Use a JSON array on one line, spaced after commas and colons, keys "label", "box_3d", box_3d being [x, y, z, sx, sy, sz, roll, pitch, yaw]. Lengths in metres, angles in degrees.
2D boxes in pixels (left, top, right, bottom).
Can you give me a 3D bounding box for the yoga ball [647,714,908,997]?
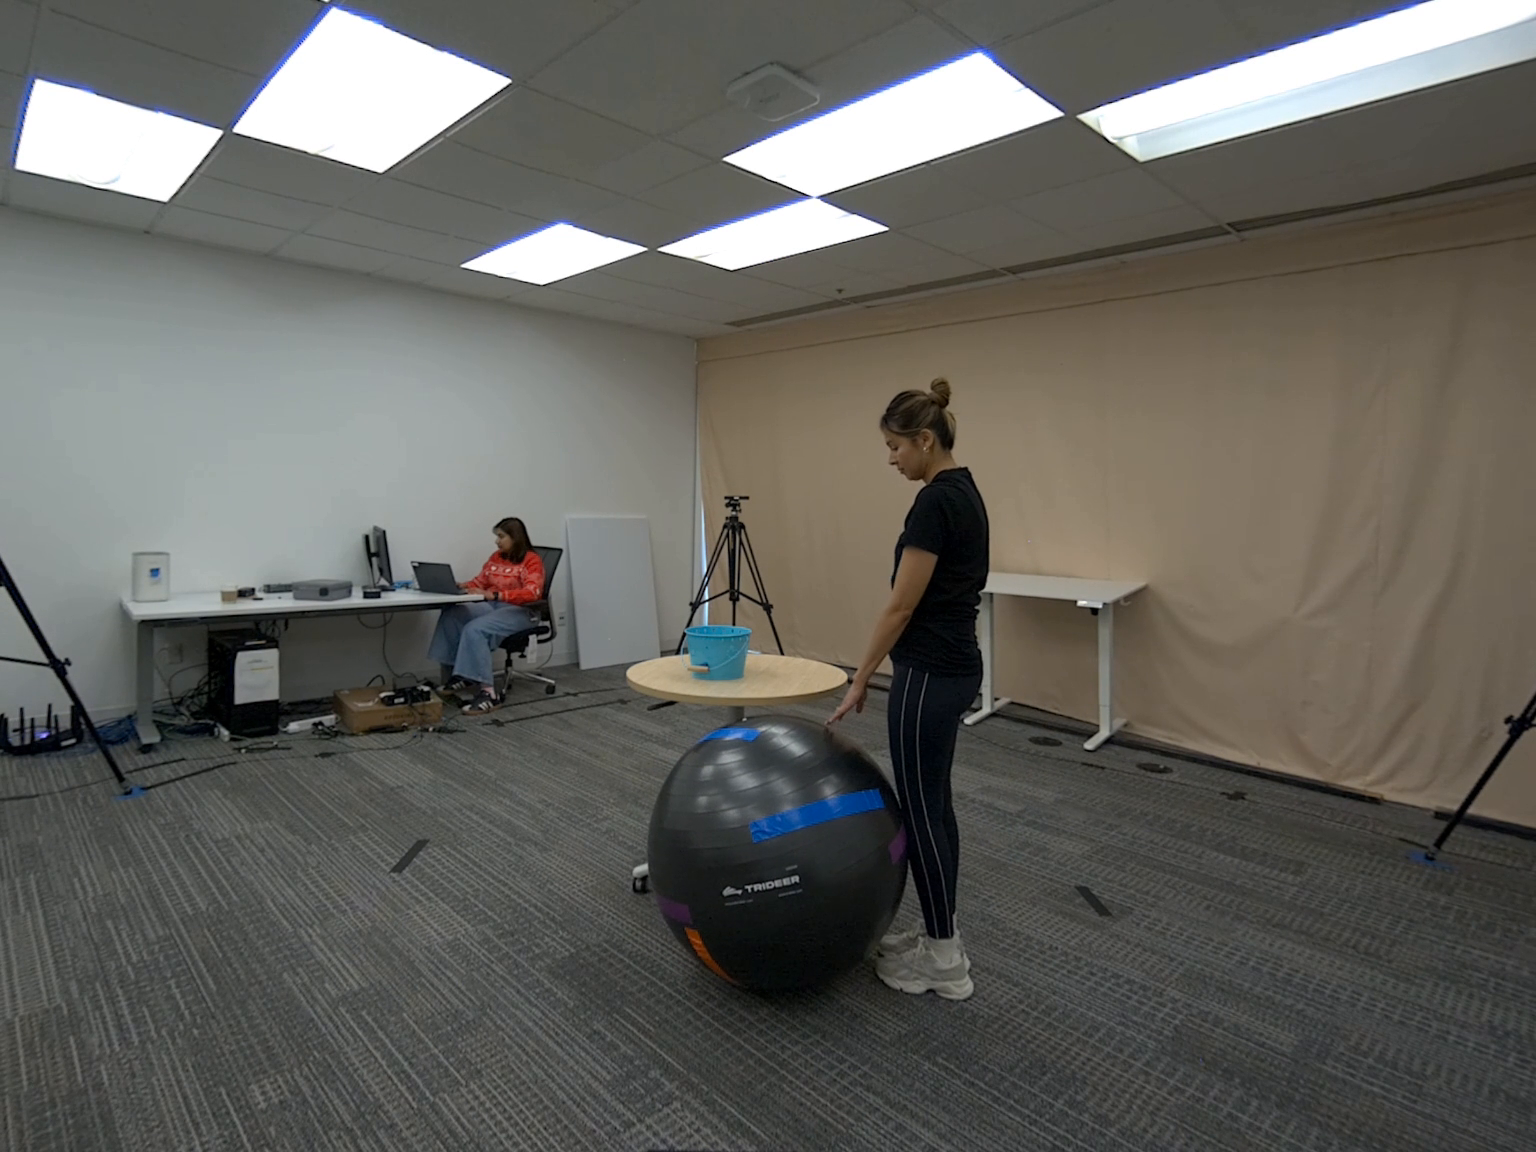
[{"label": "yoga ball", "box_3d": [0.023, 0.807, 2.447, 0.757, 0.756, 0.761, 1, 4, -1]}]
